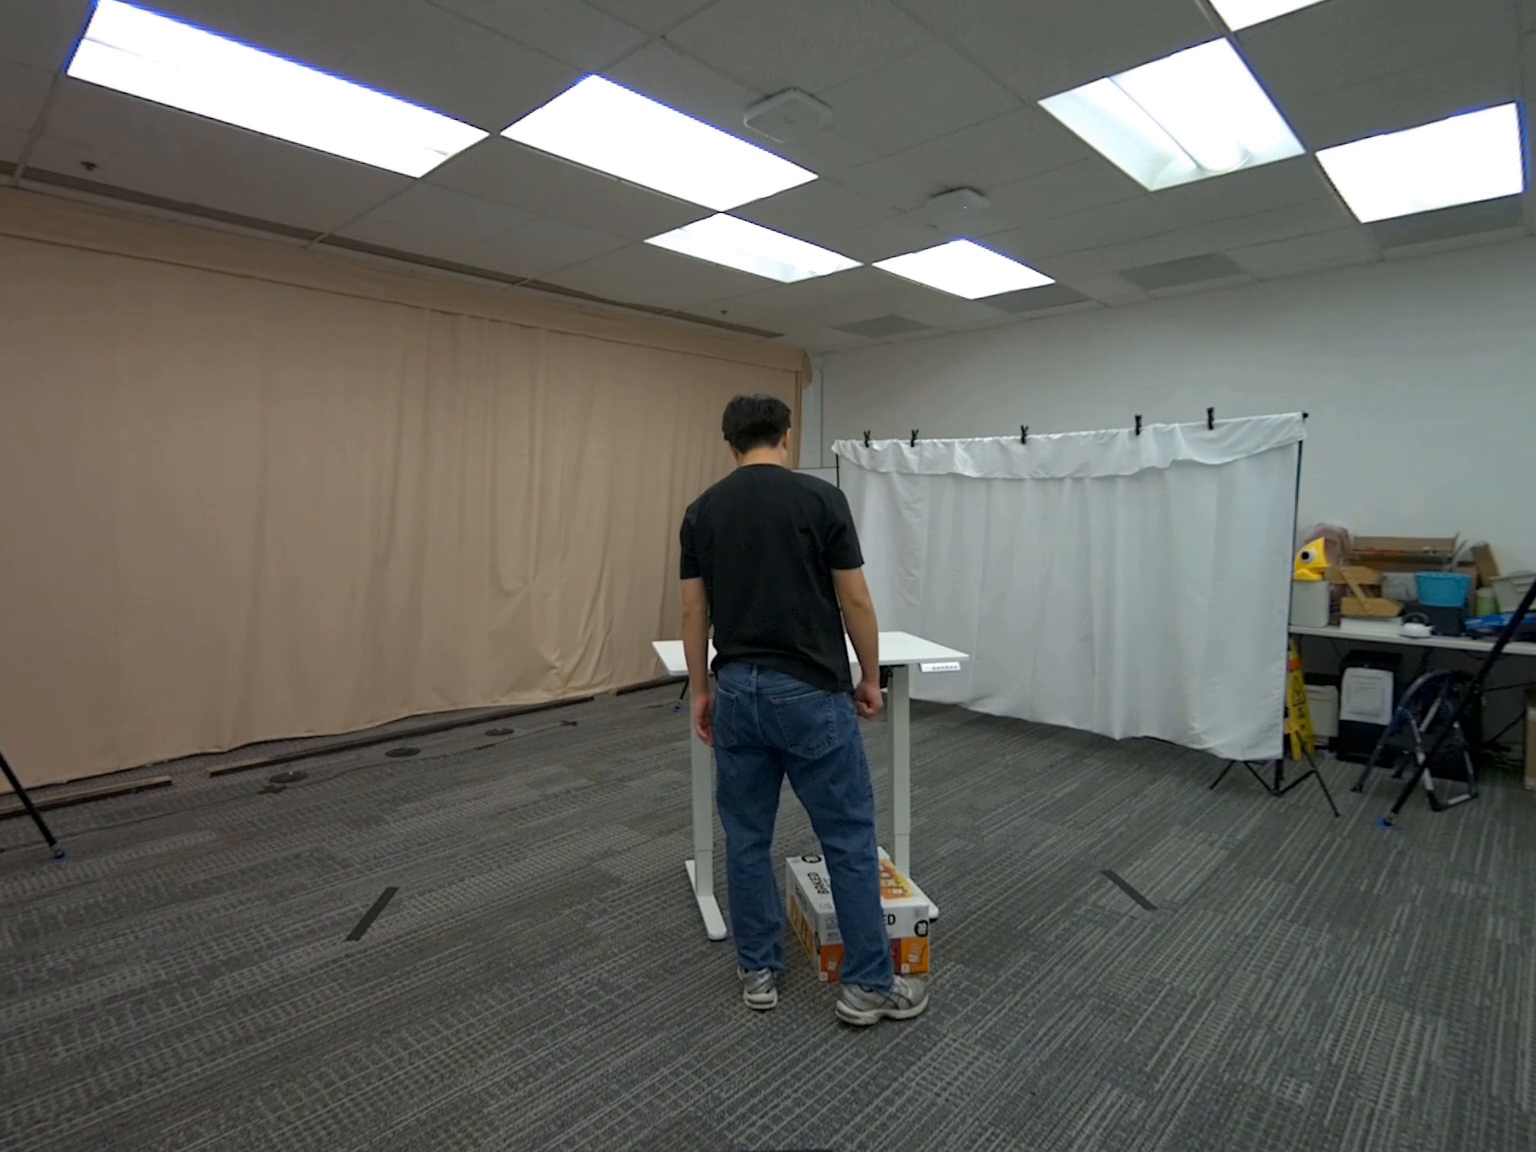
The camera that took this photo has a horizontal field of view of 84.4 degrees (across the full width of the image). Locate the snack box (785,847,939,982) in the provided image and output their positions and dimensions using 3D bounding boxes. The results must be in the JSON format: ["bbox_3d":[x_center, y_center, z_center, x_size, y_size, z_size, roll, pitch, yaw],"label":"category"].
[{"bbox_3d":[0.277,1.069,2.675,0.336,0.205,0.411,-1,5,-11],"label":"snack box"}]
